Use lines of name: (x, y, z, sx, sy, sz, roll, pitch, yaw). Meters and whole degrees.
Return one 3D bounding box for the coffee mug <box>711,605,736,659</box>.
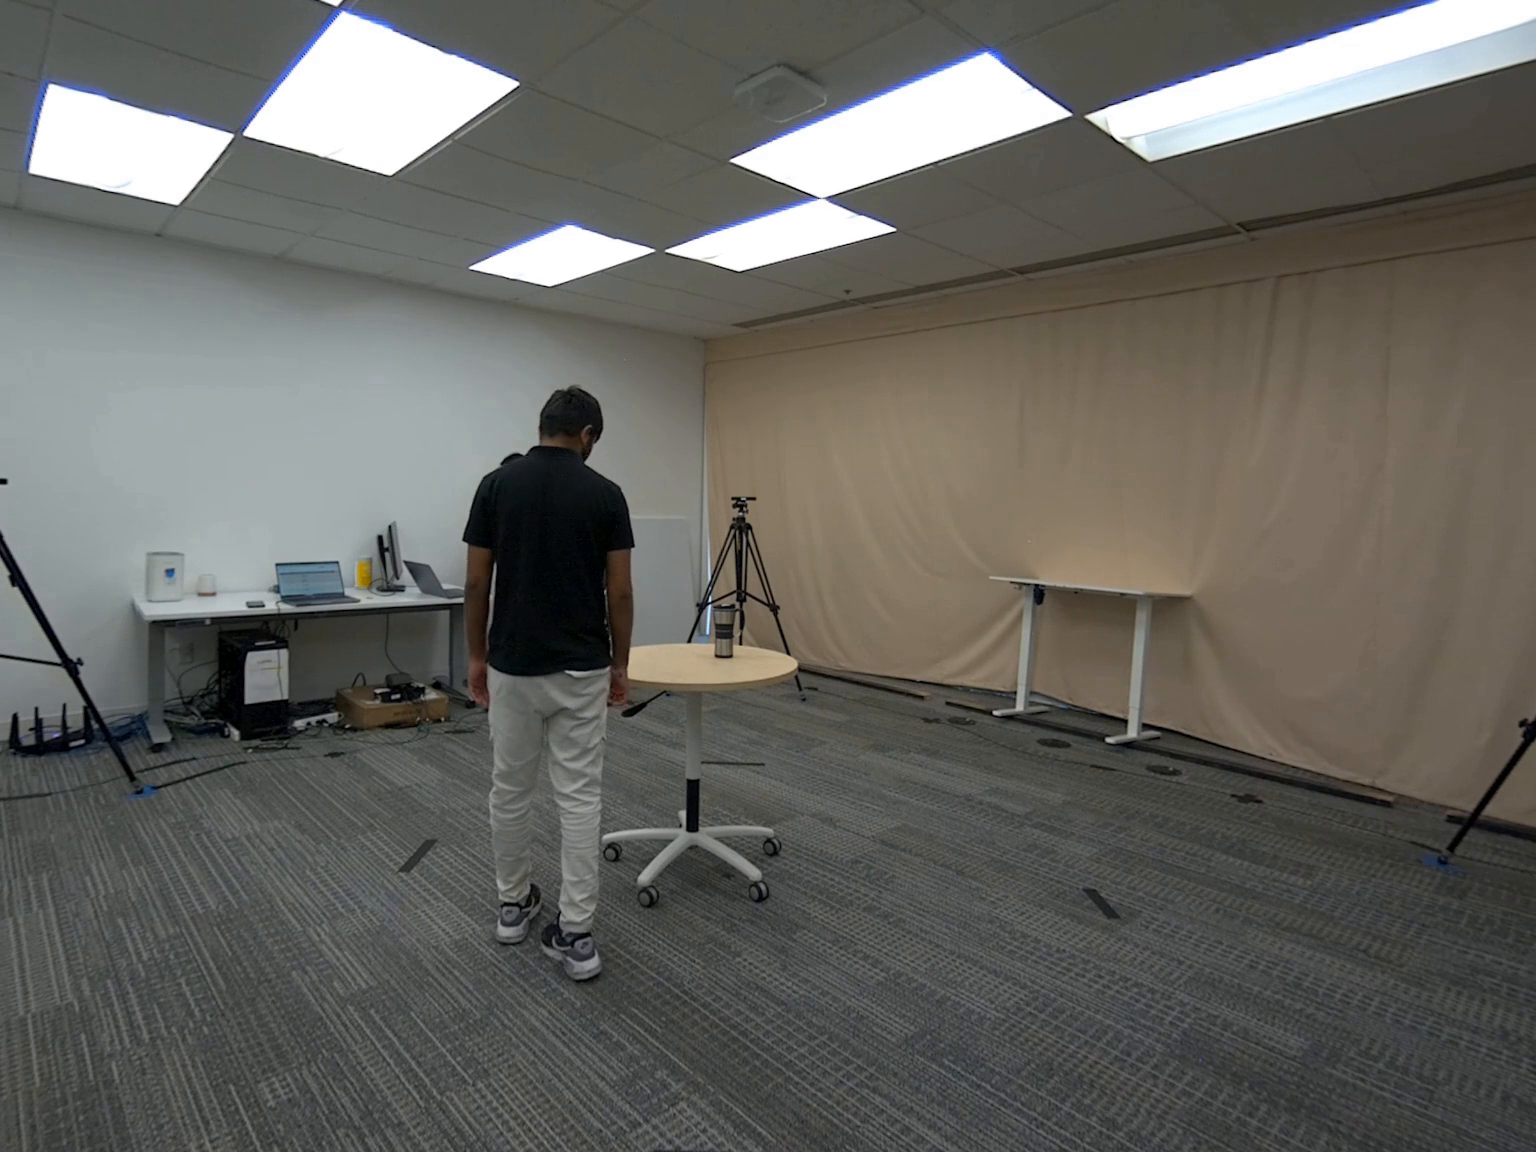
coffee mug: (-0.185, 0.216, 3.220, 0.119, 0.203, 0.090, 4, 2, -30)
